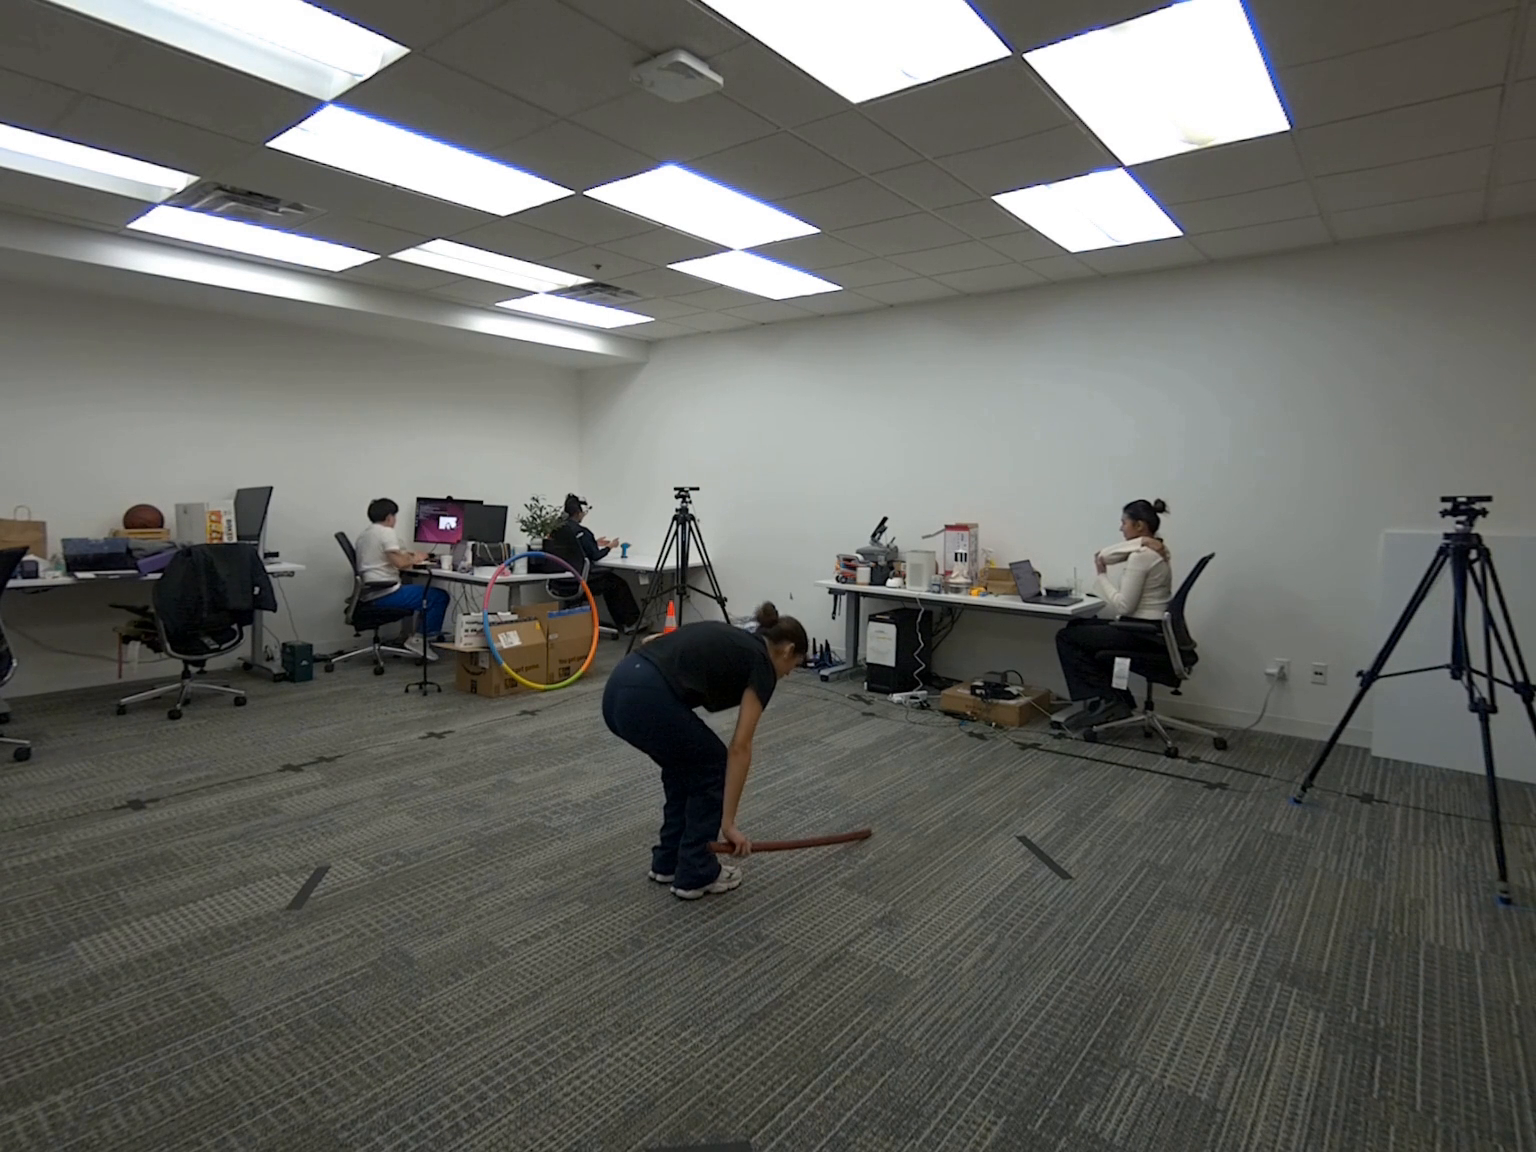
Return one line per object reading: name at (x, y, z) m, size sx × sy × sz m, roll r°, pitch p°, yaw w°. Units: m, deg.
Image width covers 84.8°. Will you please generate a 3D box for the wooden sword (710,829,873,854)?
wooden sword at (0.123, 0.955, 3.087) m, size 0.986 × 0.024 × 0.053 m, roll 15°, pitch 28°, yaw -49°
